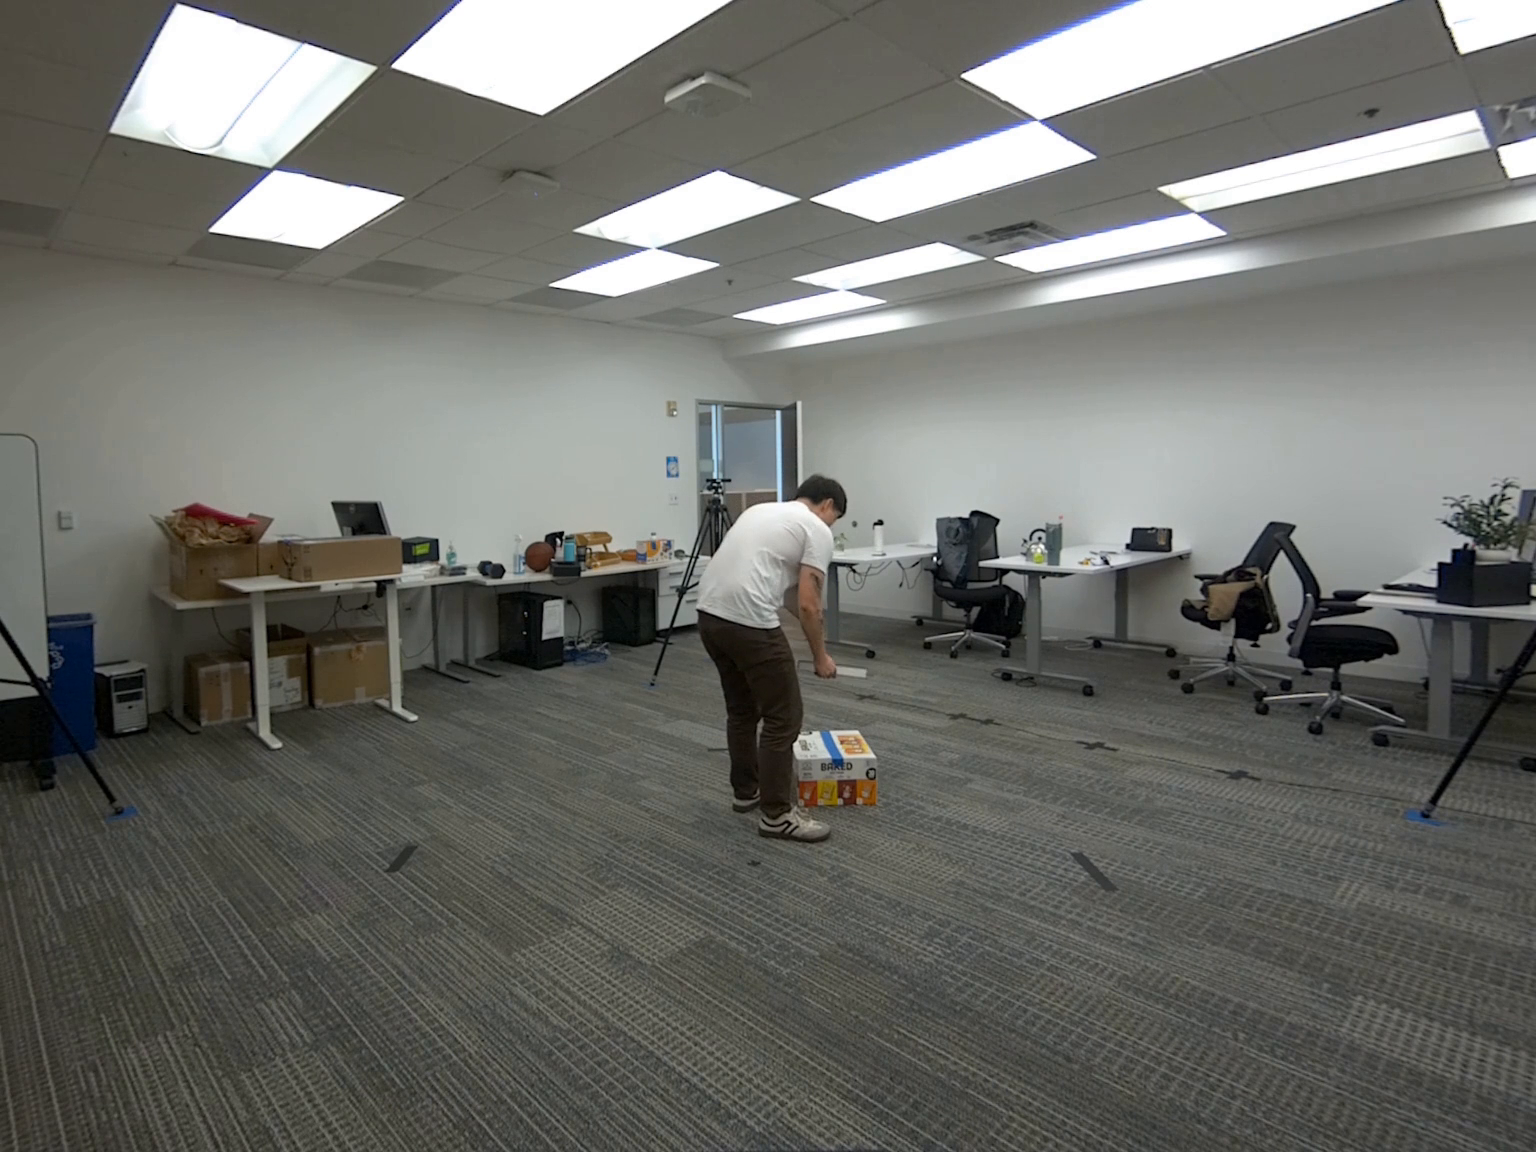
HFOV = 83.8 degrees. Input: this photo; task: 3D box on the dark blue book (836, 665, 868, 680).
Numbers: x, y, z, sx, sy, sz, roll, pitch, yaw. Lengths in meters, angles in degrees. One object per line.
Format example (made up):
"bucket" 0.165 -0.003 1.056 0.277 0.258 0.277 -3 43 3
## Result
"dark blue book" 0.270 0.384 3.557 0.241 0.045 0.165 9 -5 -16
